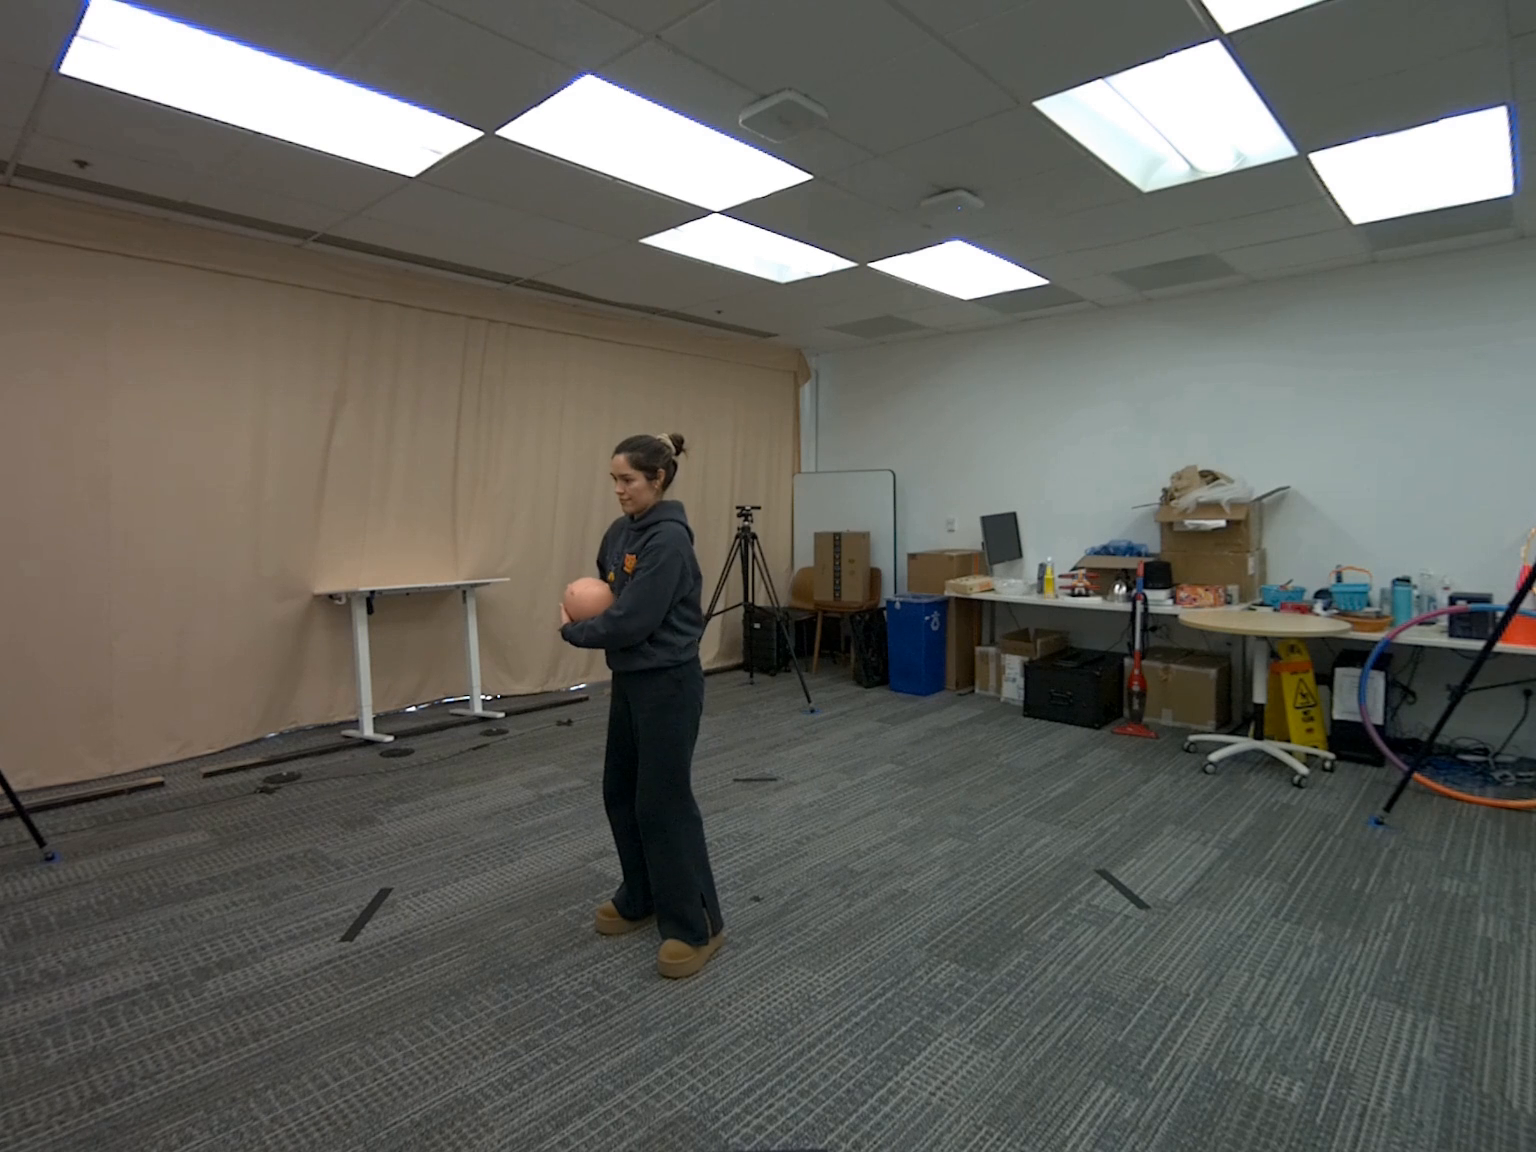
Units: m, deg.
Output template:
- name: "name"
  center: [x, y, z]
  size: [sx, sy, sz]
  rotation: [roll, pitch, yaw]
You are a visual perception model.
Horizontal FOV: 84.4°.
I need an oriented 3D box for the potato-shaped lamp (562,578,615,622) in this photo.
- name: "potato-shaped lamp"
  center: [-0.556, 0.094, 2.734]
  size: [0.161, 0.171, 0.202]
  rotation: [-5, 0, -24]
